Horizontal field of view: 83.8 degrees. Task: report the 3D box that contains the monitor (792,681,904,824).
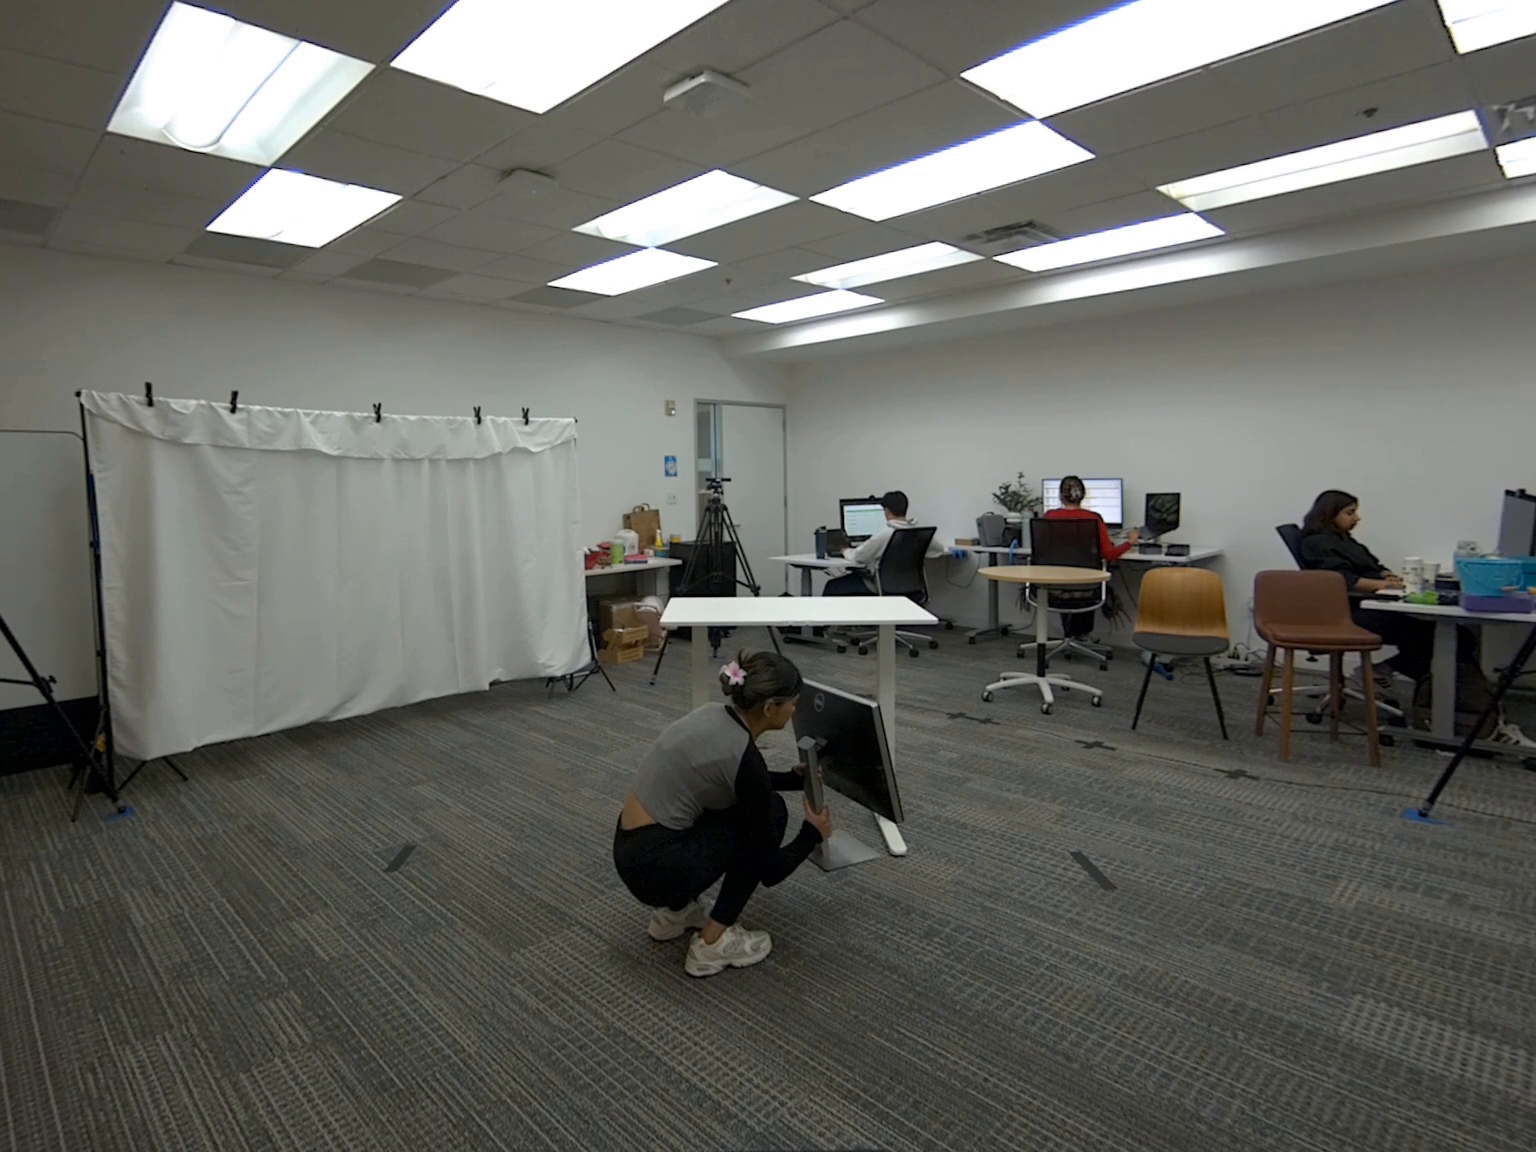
[{"bbox_3d":[0.194,0.610,2.680,0.183,0.520,0.554,-4,7,-28],"label":"monitor"}]
